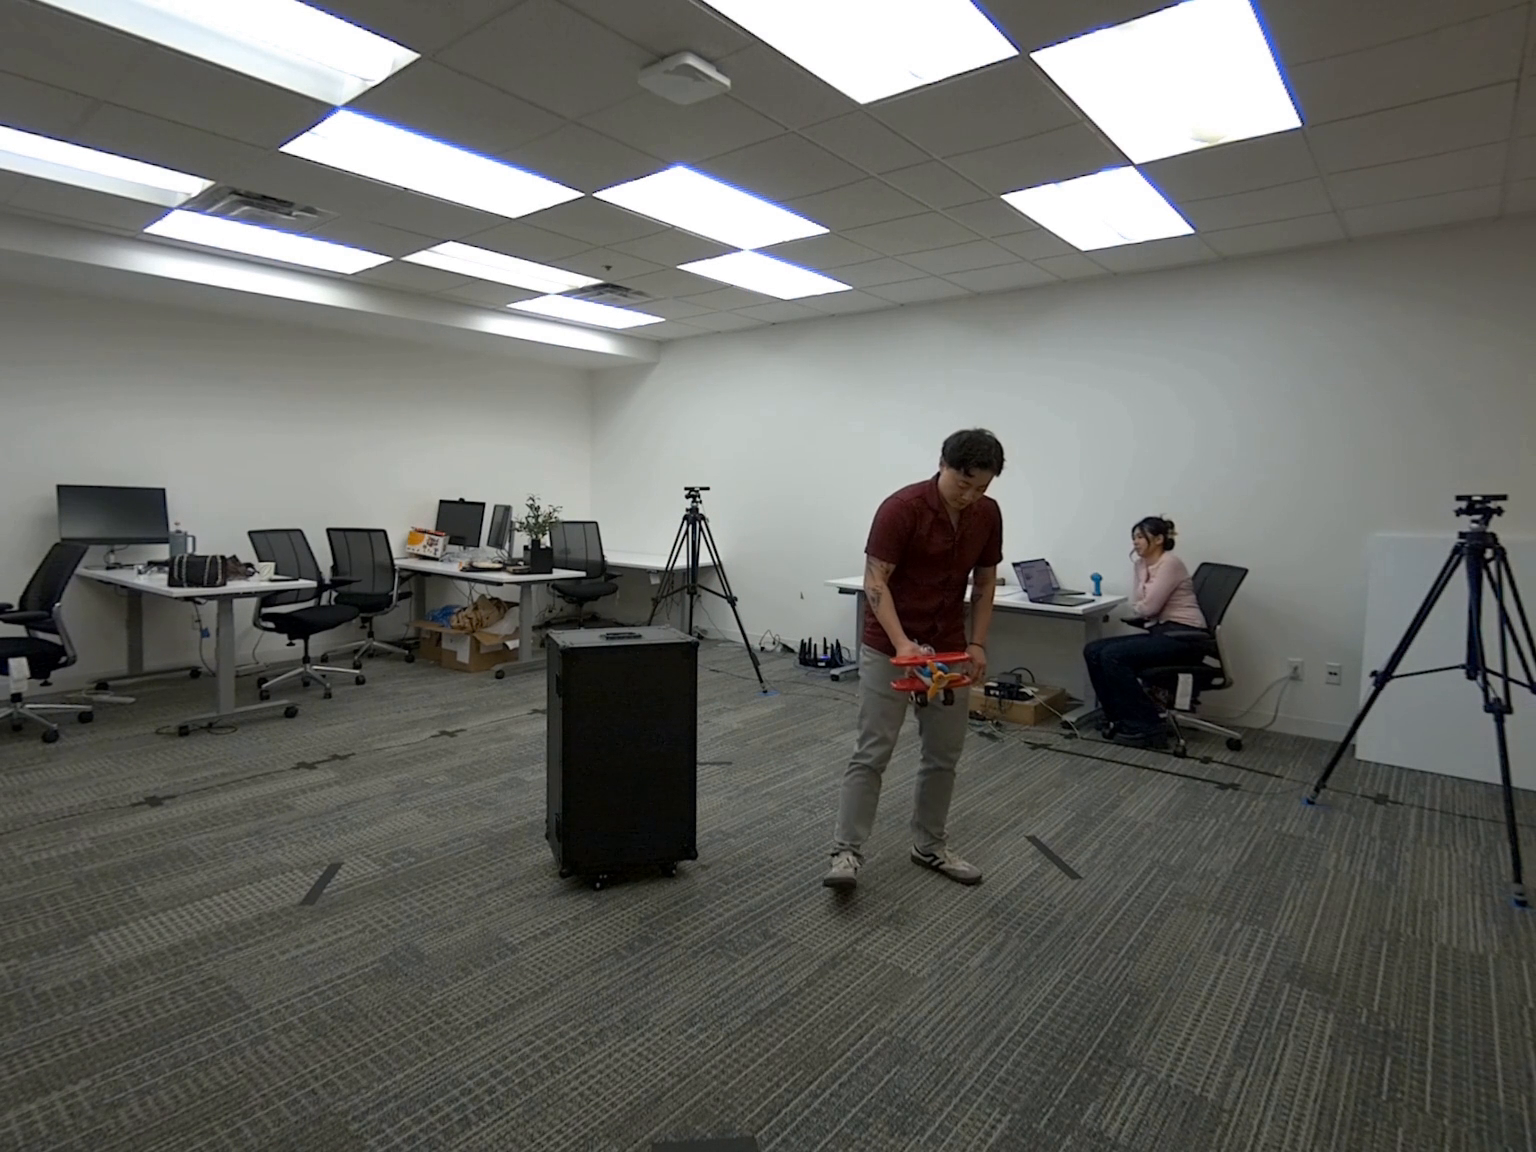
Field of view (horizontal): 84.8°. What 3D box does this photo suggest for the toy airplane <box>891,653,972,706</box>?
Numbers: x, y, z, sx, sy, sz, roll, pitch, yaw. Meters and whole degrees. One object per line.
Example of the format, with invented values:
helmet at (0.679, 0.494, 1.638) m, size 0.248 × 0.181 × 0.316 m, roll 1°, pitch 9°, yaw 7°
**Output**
toy airplane at (0.491, 0.308, 2.738) m, size 0.246 × 0.153 × 0.270 m, roll -16°, pitch 26°, yaw -30°
